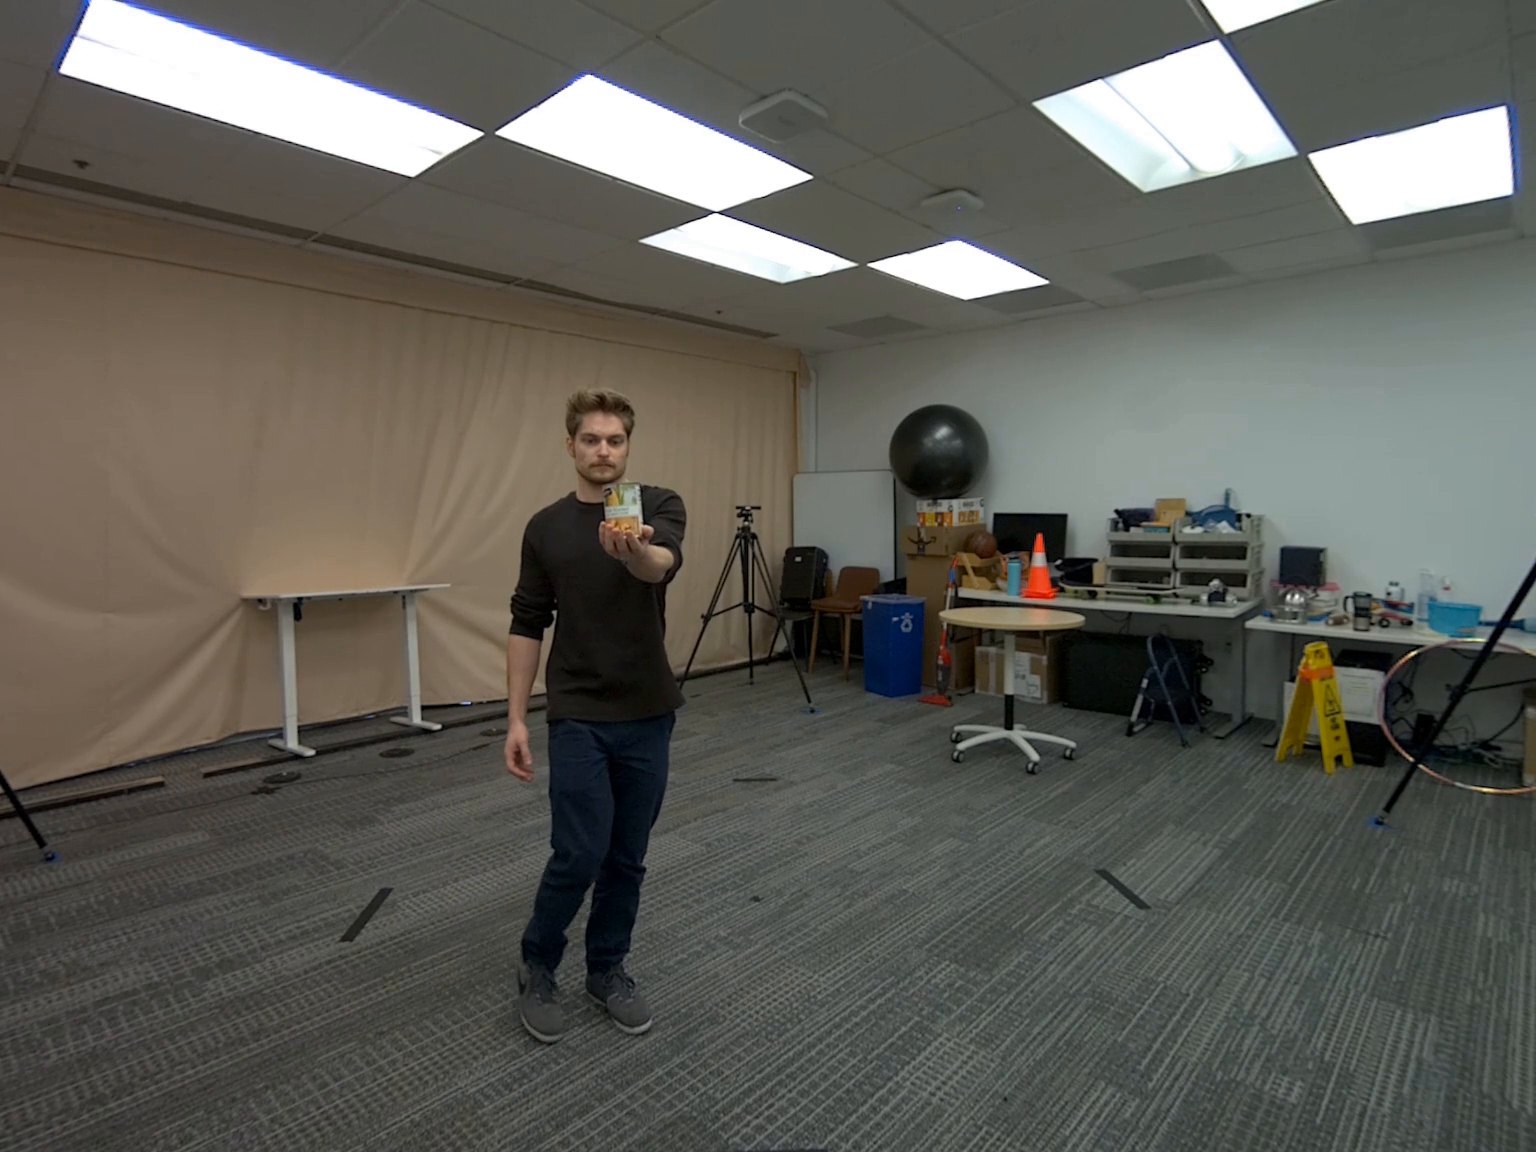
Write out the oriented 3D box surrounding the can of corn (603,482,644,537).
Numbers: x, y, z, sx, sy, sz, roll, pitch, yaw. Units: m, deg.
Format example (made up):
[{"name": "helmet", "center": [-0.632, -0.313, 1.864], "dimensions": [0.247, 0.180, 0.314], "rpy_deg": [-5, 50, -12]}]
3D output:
[{"name": "can of corn", "center": [-0.281, -0.126, 1.696], "dimensions": [0.074, 0.111, 0.074], "rpy_deg": [-5, 1, -2]}]
